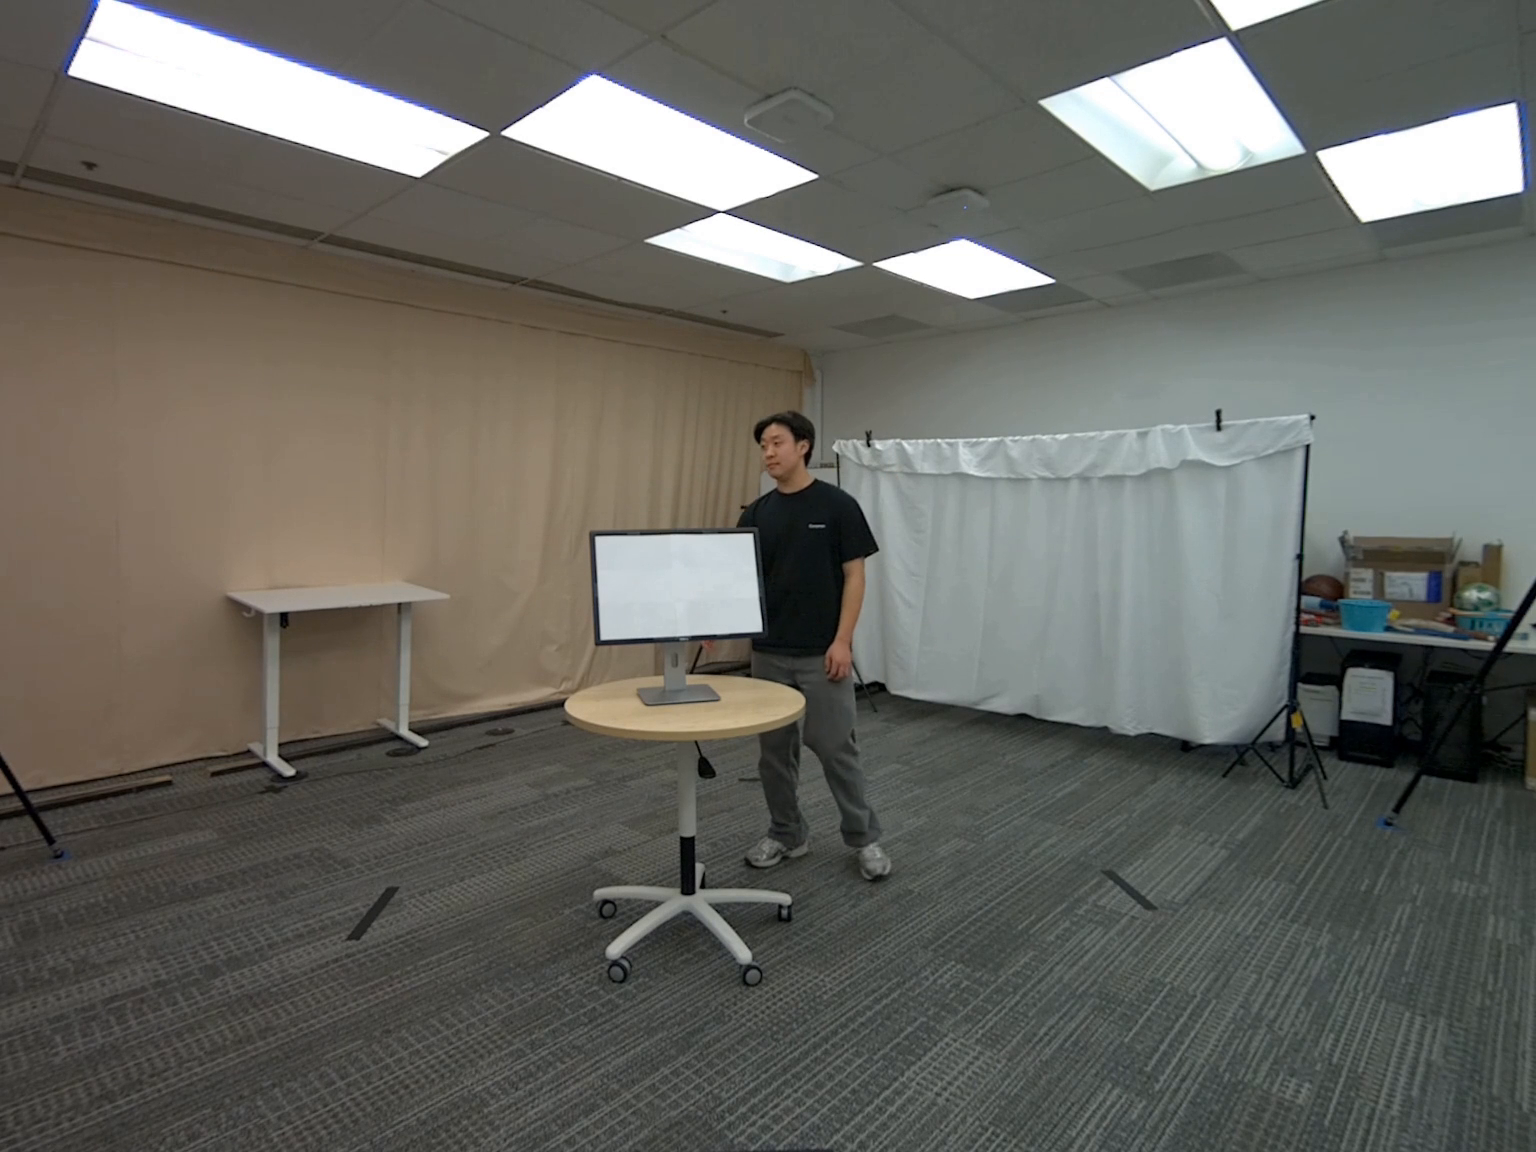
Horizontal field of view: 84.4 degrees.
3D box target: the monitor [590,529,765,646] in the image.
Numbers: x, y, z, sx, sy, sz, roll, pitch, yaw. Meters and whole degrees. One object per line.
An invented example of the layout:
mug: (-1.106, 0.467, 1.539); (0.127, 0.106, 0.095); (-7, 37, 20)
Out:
monitor: (-0.291, 0.131, 2.712); (0.554, 0.564, 0.226); (-2, 4, -13)
